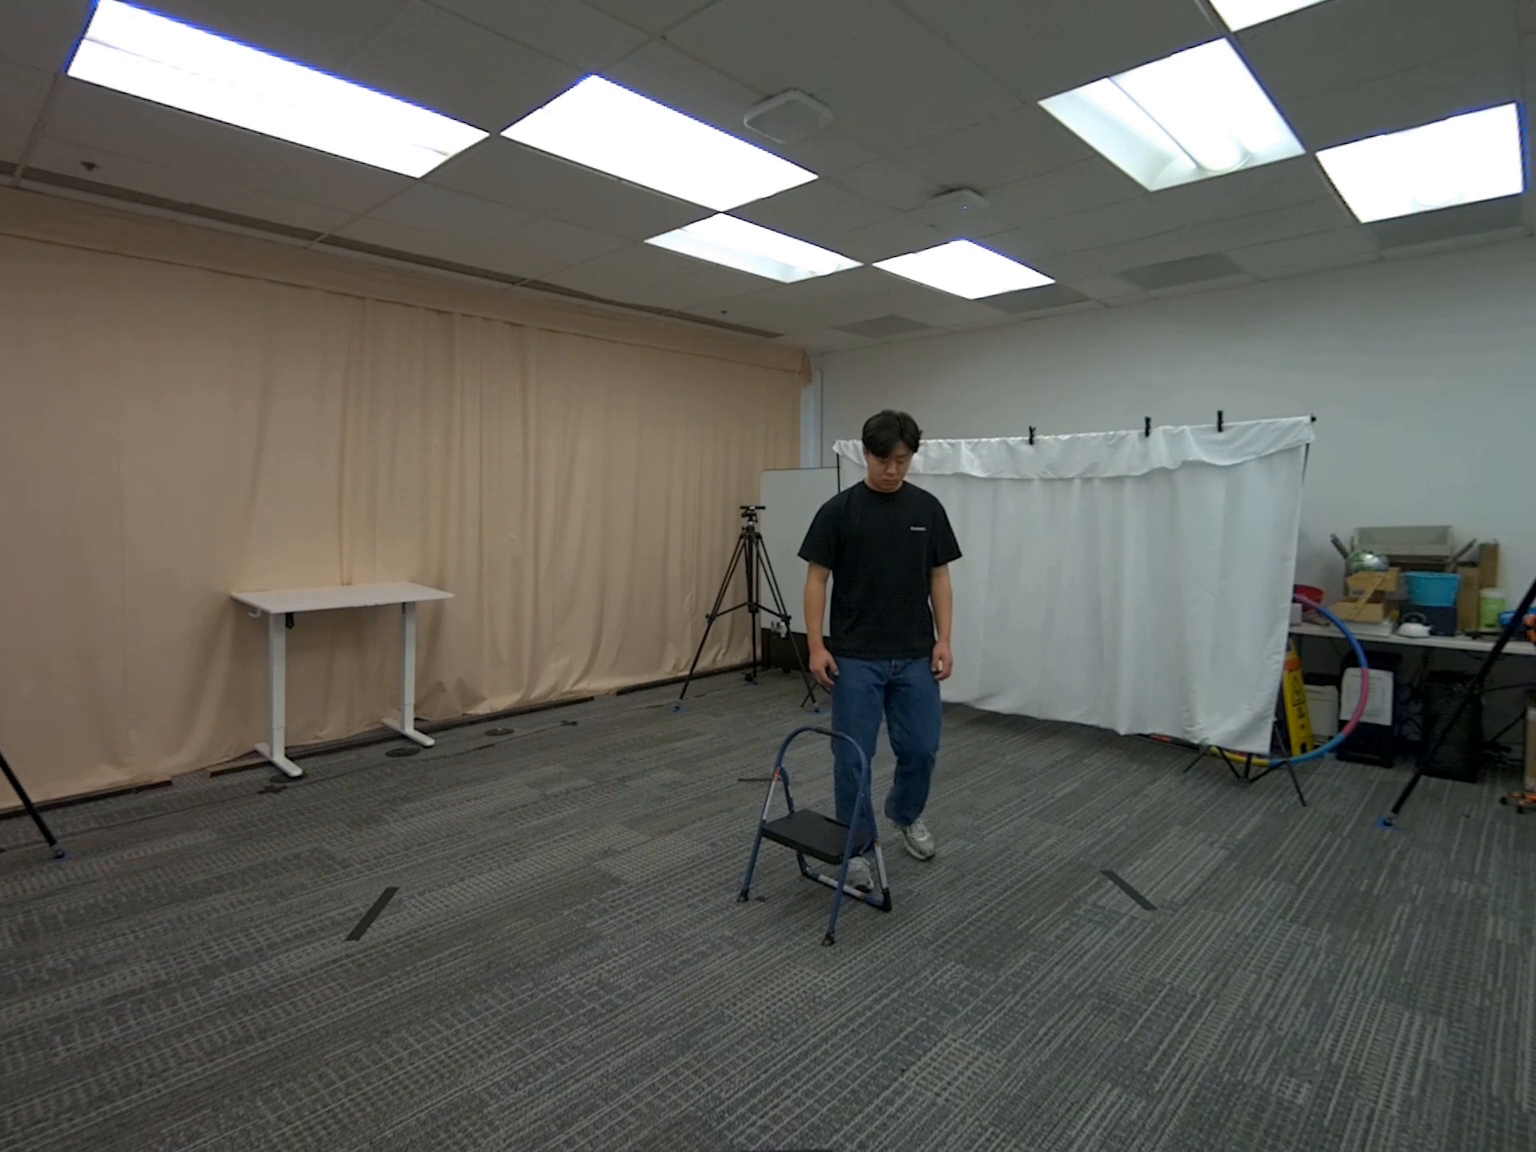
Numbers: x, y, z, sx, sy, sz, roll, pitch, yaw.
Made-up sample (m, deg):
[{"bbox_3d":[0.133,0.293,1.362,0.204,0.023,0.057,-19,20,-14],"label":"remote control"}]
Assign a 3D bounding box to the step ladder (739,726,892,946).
[{"bbox_3d":[0.167,0.845,2.912,0.338,0.604,0.445,-4,6,-43],"label":"step ladder"}]
